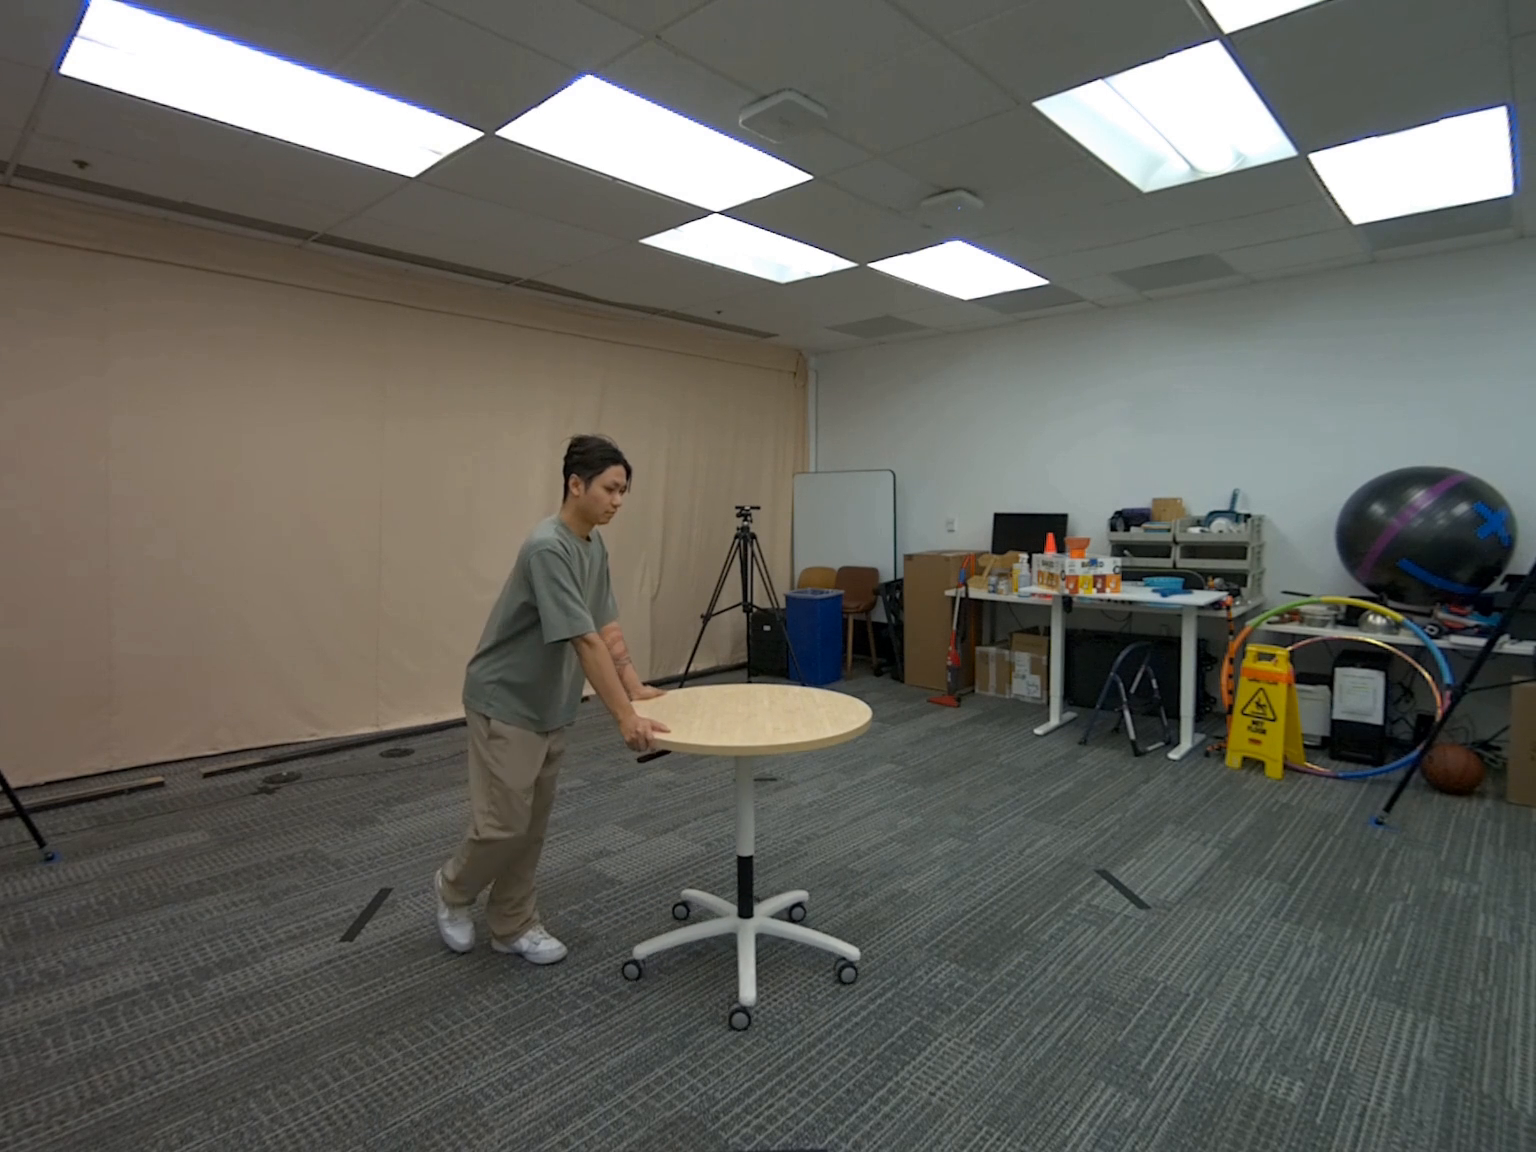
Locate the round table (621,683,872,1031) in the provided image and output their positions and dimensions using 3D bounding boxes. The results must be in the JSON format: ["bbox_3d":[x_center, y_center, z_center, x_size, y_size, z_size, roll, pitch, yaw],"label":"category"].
[{"bbox_3d":[-0.058,0.794,2.543,0.784,0.784,0.788,-1,4,-2],"label":"round table"}]
